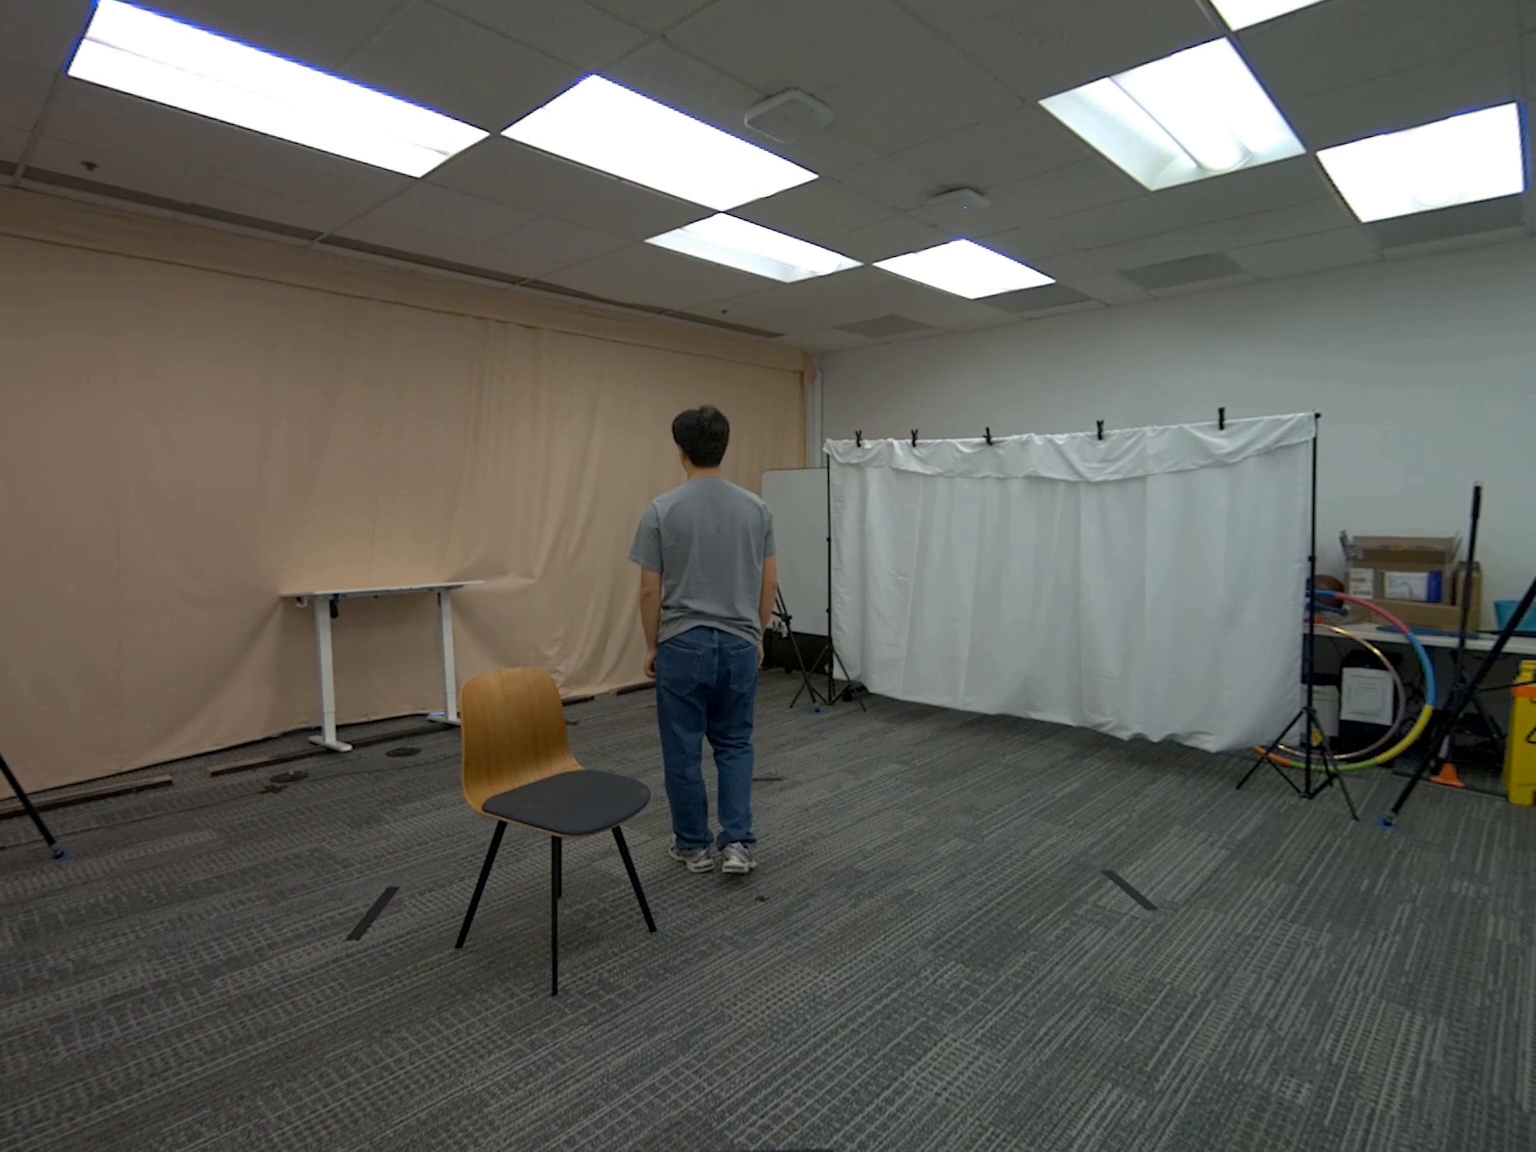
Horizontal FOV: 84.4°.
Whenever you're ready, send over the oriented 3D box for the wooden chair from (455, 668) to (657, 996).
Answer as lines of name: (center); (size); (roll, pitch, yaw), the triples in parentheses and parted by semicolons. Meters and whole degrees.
wooden chair: (-0.673, 0.748, 2.676); (0.538, 0.877, 0.464); (-4, 0, 35)
